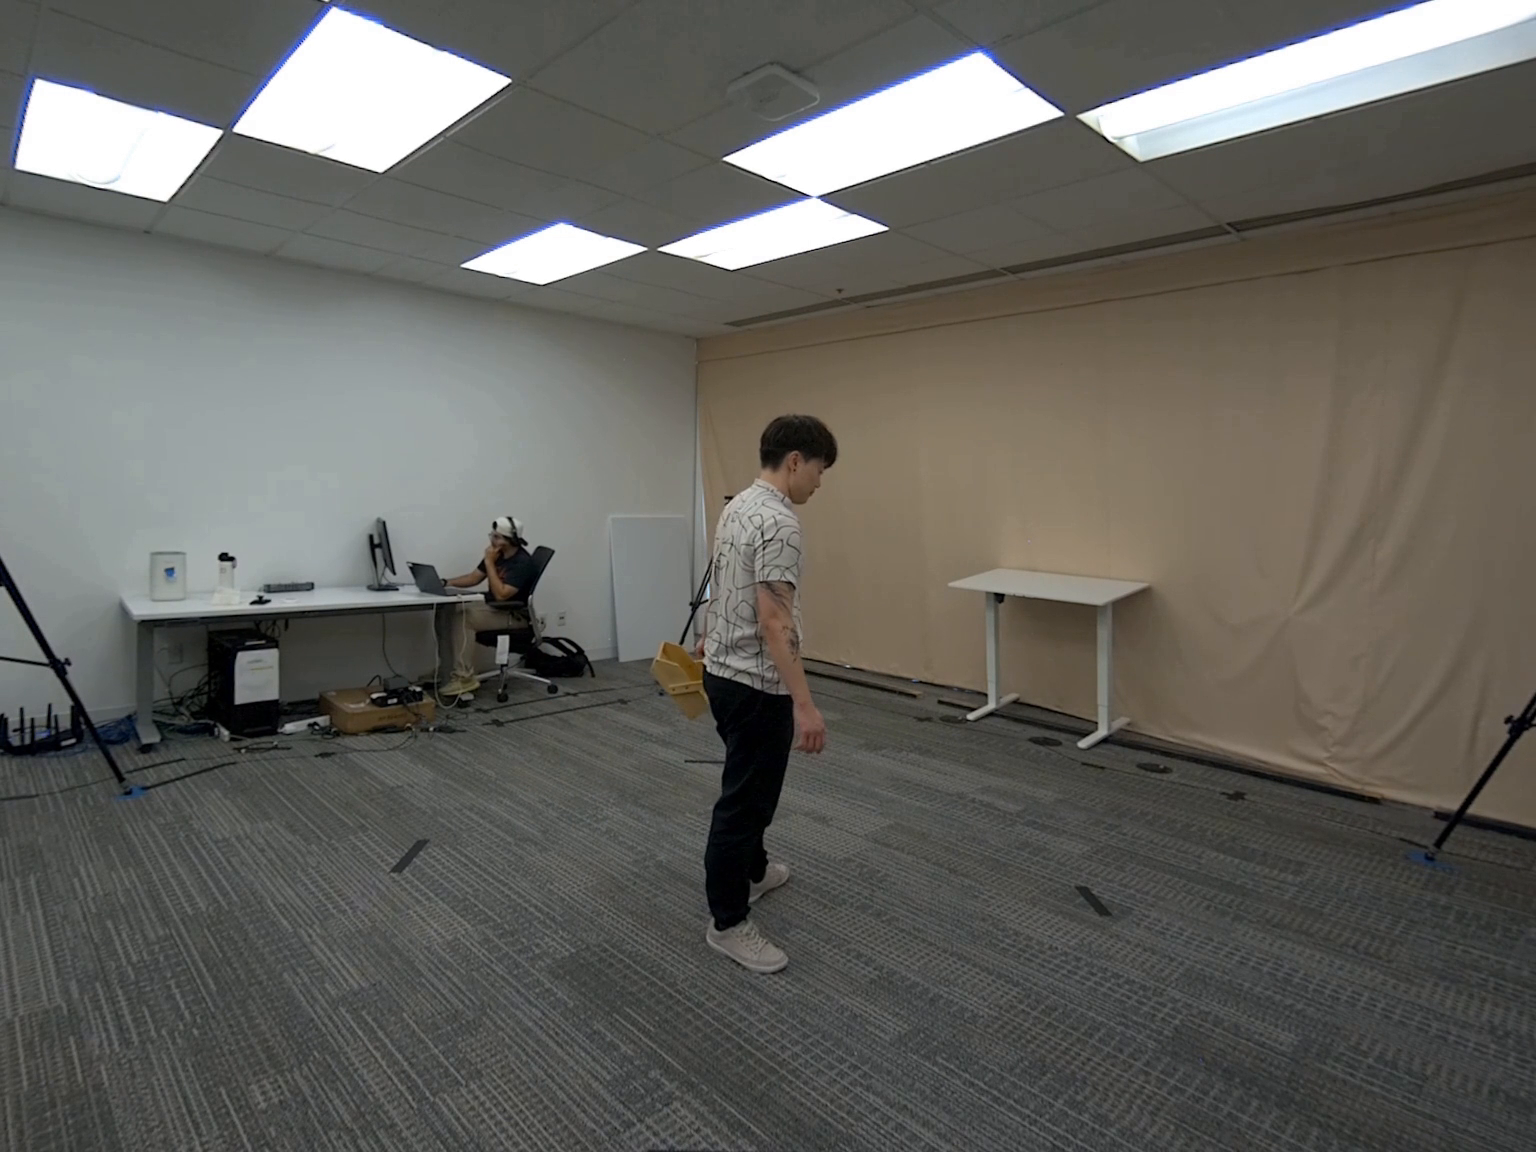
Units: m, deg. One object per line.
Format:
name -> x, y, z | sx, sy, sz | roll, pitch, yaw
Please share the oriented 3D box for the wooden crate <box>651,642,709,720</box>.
wooden crate -> -0.238, 0.335, 3.098 | 0.273, 0.300, 0.326 | -37, 7, 2
